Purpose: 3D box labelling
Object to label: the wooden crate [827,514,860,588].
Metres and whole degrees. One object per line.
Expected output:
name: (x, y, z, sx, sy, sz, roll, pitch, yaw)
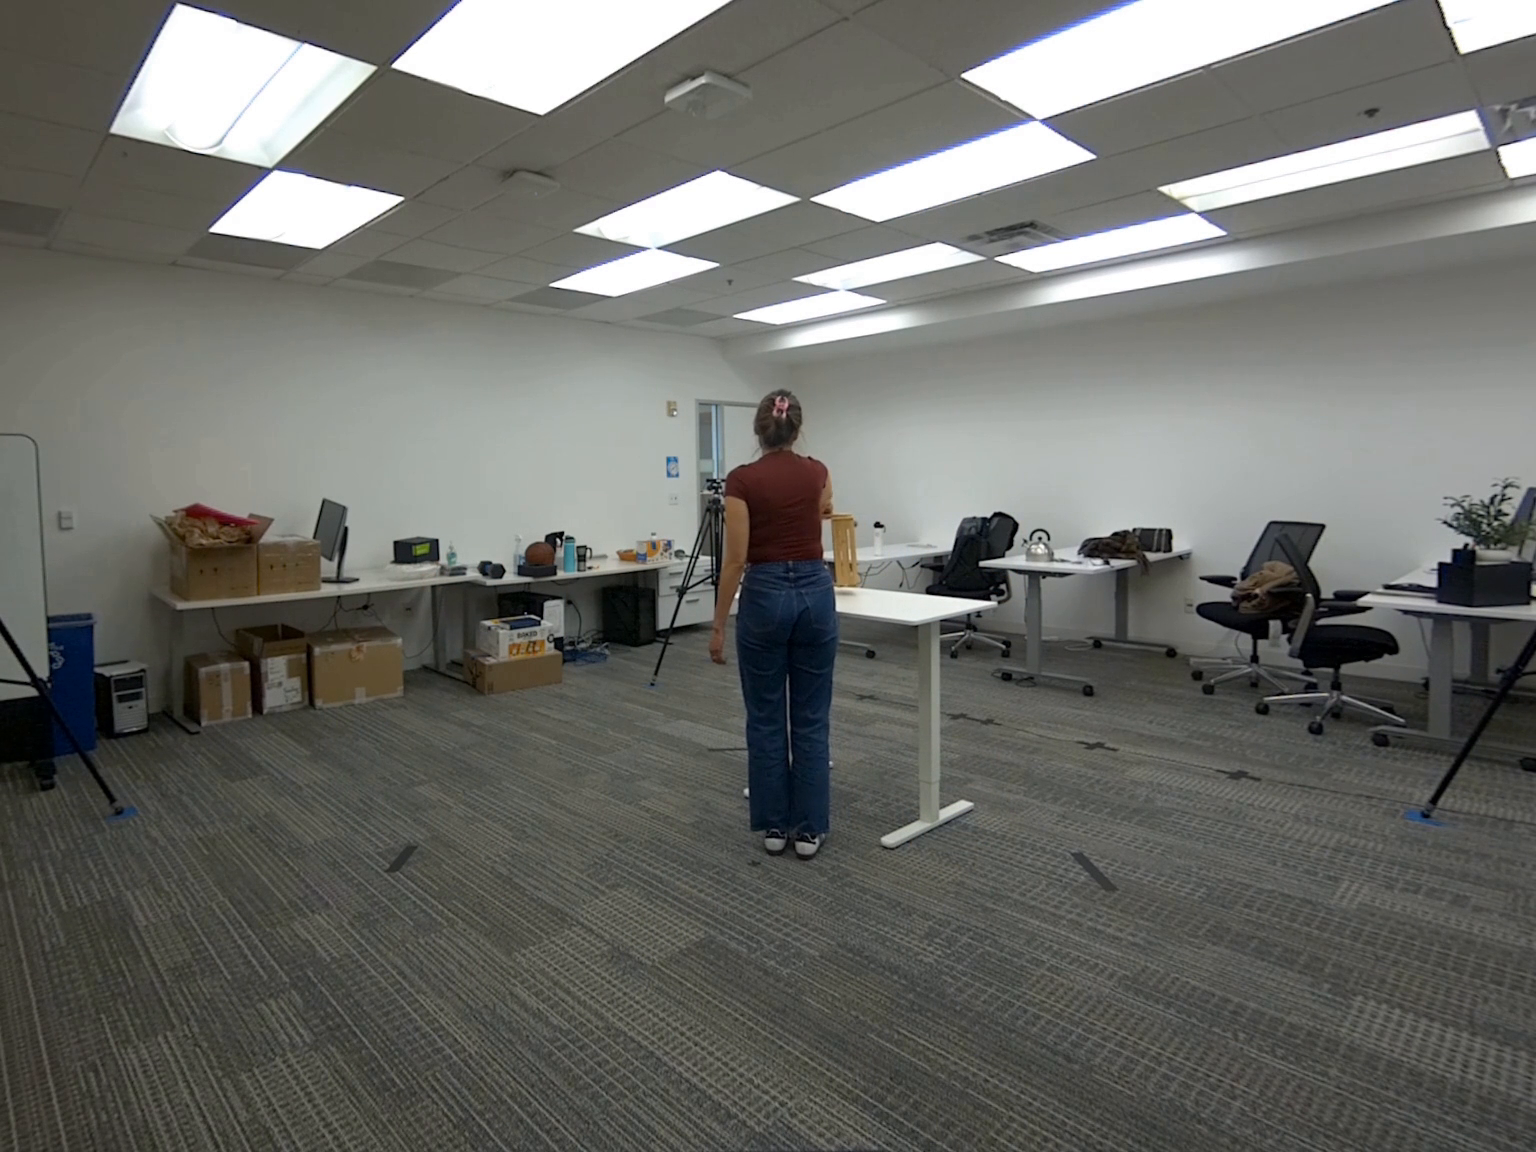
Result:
wooden crate: (0.276, -0.122, 3.861, 0.275, 0.322, 0.303, -3, 9, 6)
